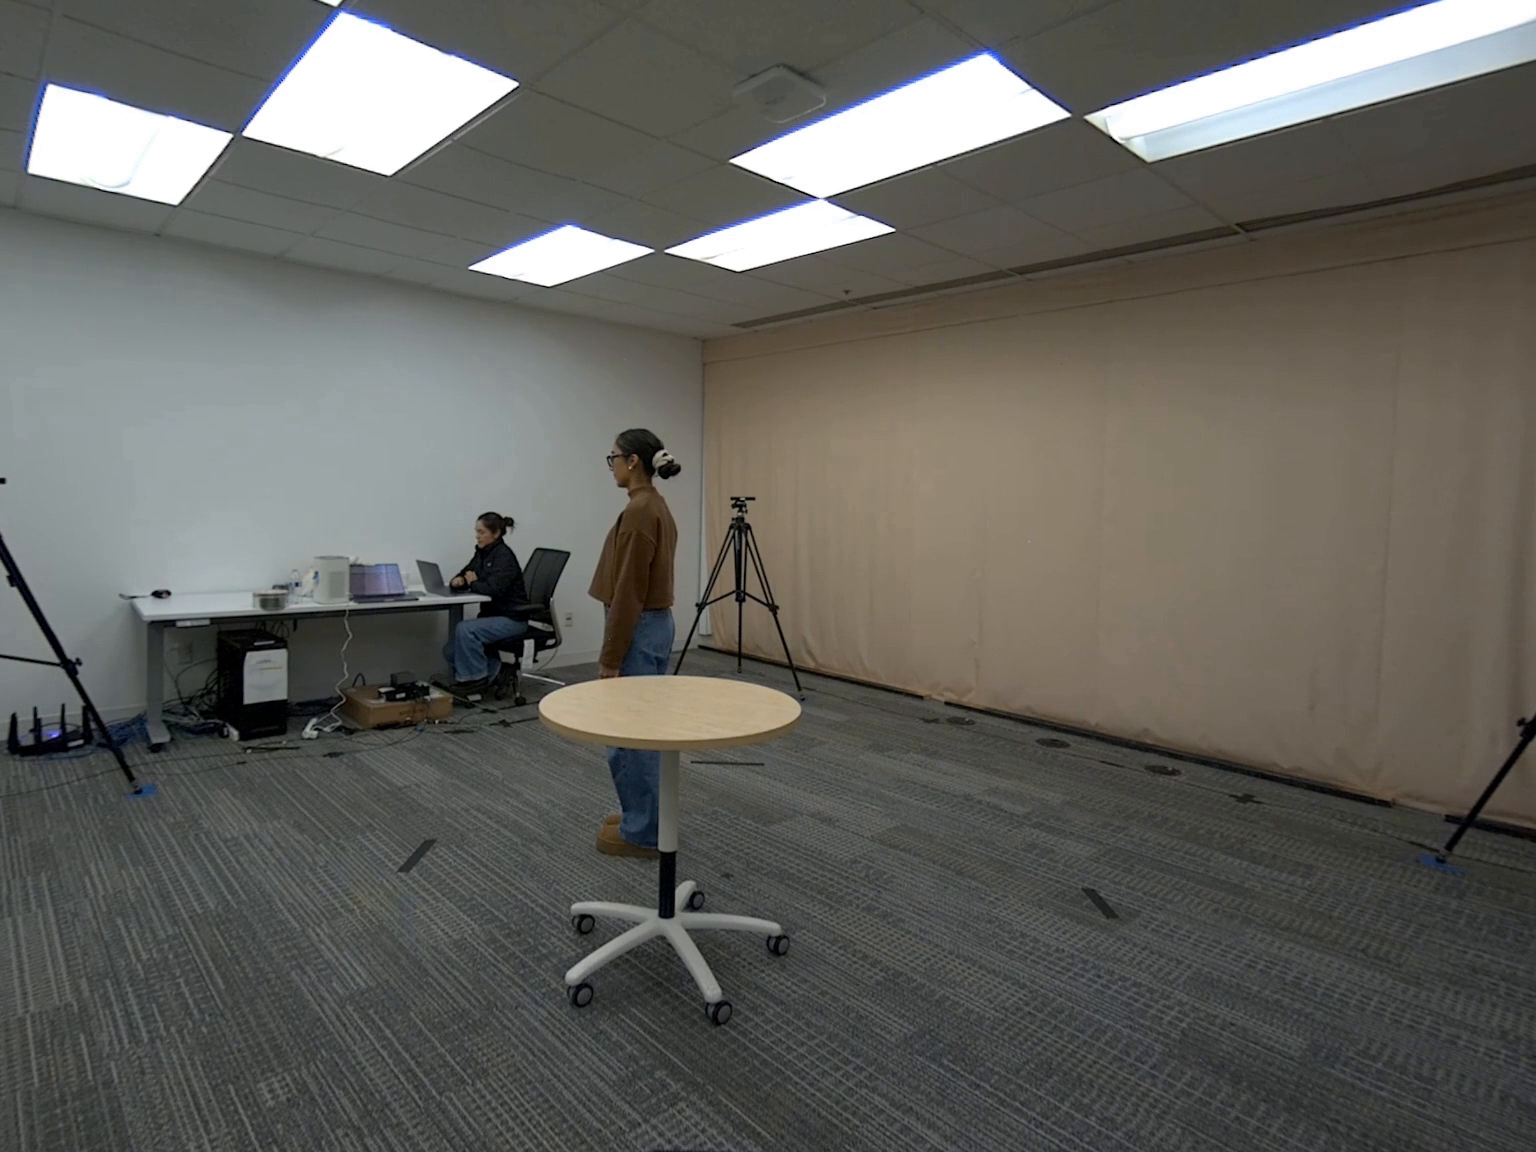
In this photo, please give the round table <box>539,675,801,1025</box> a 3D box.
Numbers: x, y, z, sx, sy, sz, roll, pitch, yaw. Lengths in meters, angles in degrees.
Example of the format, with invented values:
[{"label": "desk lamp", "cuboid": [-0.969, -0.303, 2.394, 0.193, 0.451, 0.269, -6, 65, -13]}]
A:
[{"label": "round table", "cuboid": [-0.295, 0.769, 2.490, 0.784, 0.784, 0.787, 1, 4, -1]}]
